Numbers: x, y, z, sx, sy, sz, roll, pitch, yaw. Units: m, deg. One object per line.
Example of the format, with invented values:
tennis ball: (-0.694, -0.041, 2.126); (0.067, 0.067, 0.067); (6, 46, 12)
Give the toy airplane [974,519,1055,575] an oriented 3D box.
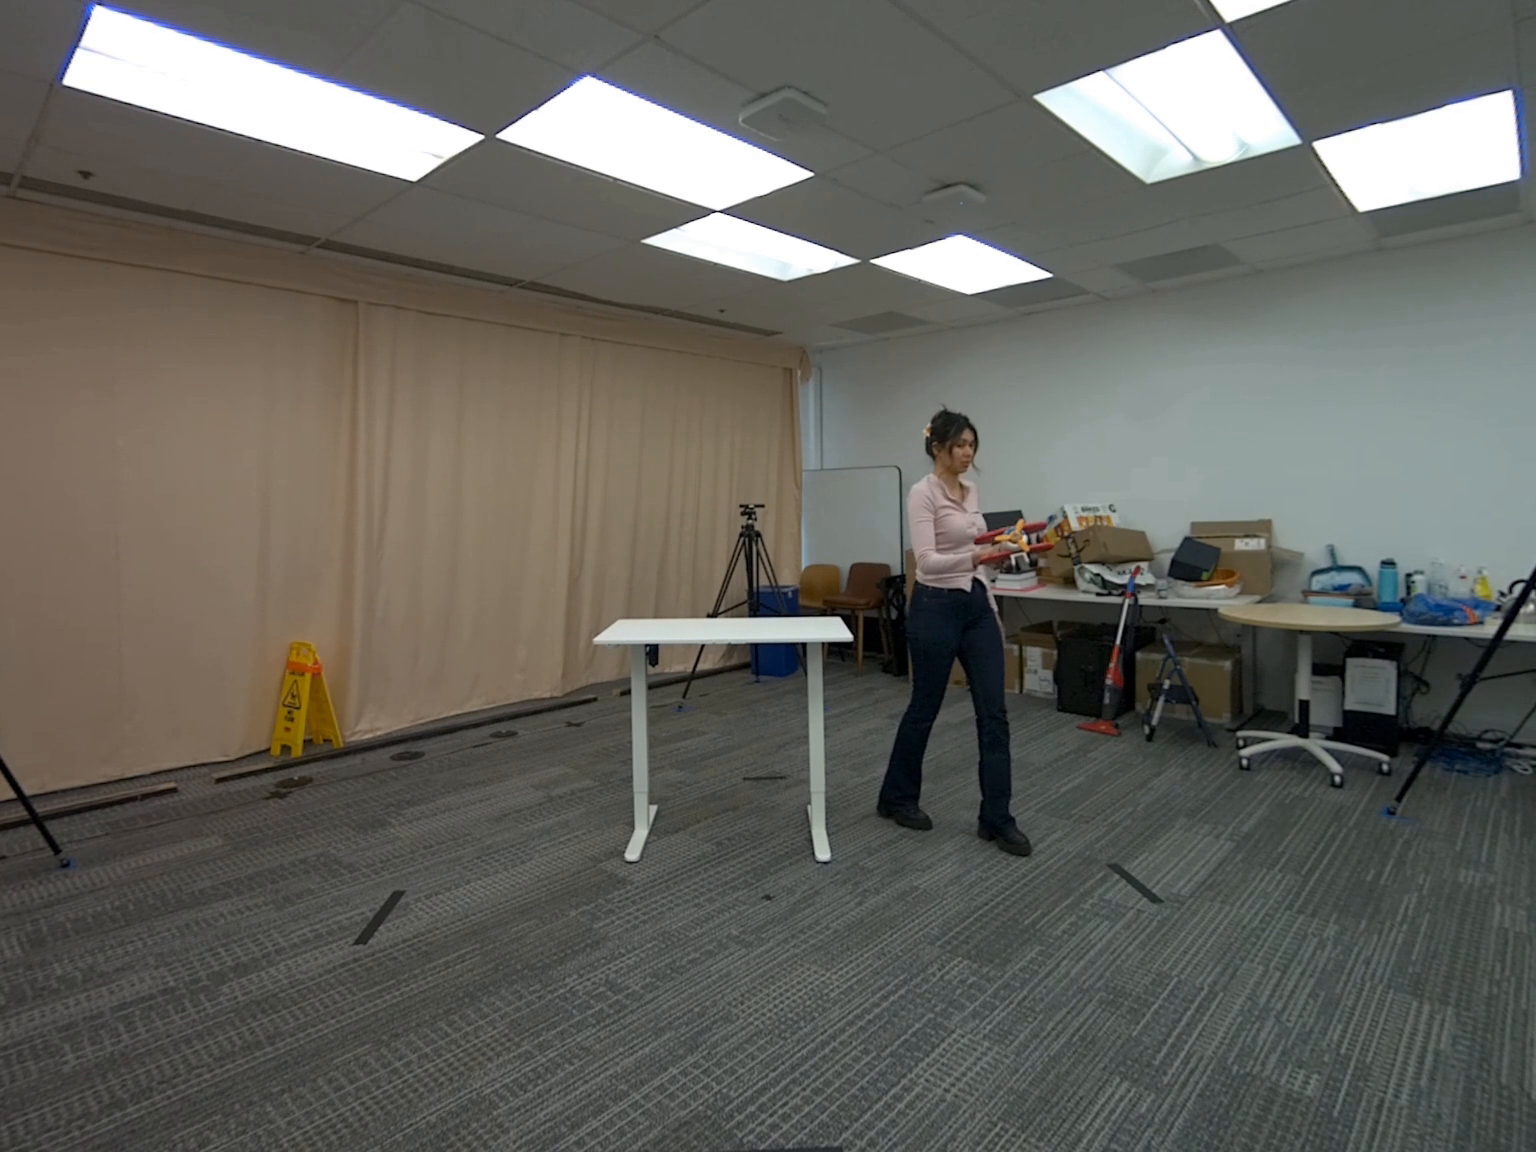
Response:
toy airplane: (0.841, -0.090, 2.999); (0.247, 0.157, 0.262); (-12, -6, -19)
